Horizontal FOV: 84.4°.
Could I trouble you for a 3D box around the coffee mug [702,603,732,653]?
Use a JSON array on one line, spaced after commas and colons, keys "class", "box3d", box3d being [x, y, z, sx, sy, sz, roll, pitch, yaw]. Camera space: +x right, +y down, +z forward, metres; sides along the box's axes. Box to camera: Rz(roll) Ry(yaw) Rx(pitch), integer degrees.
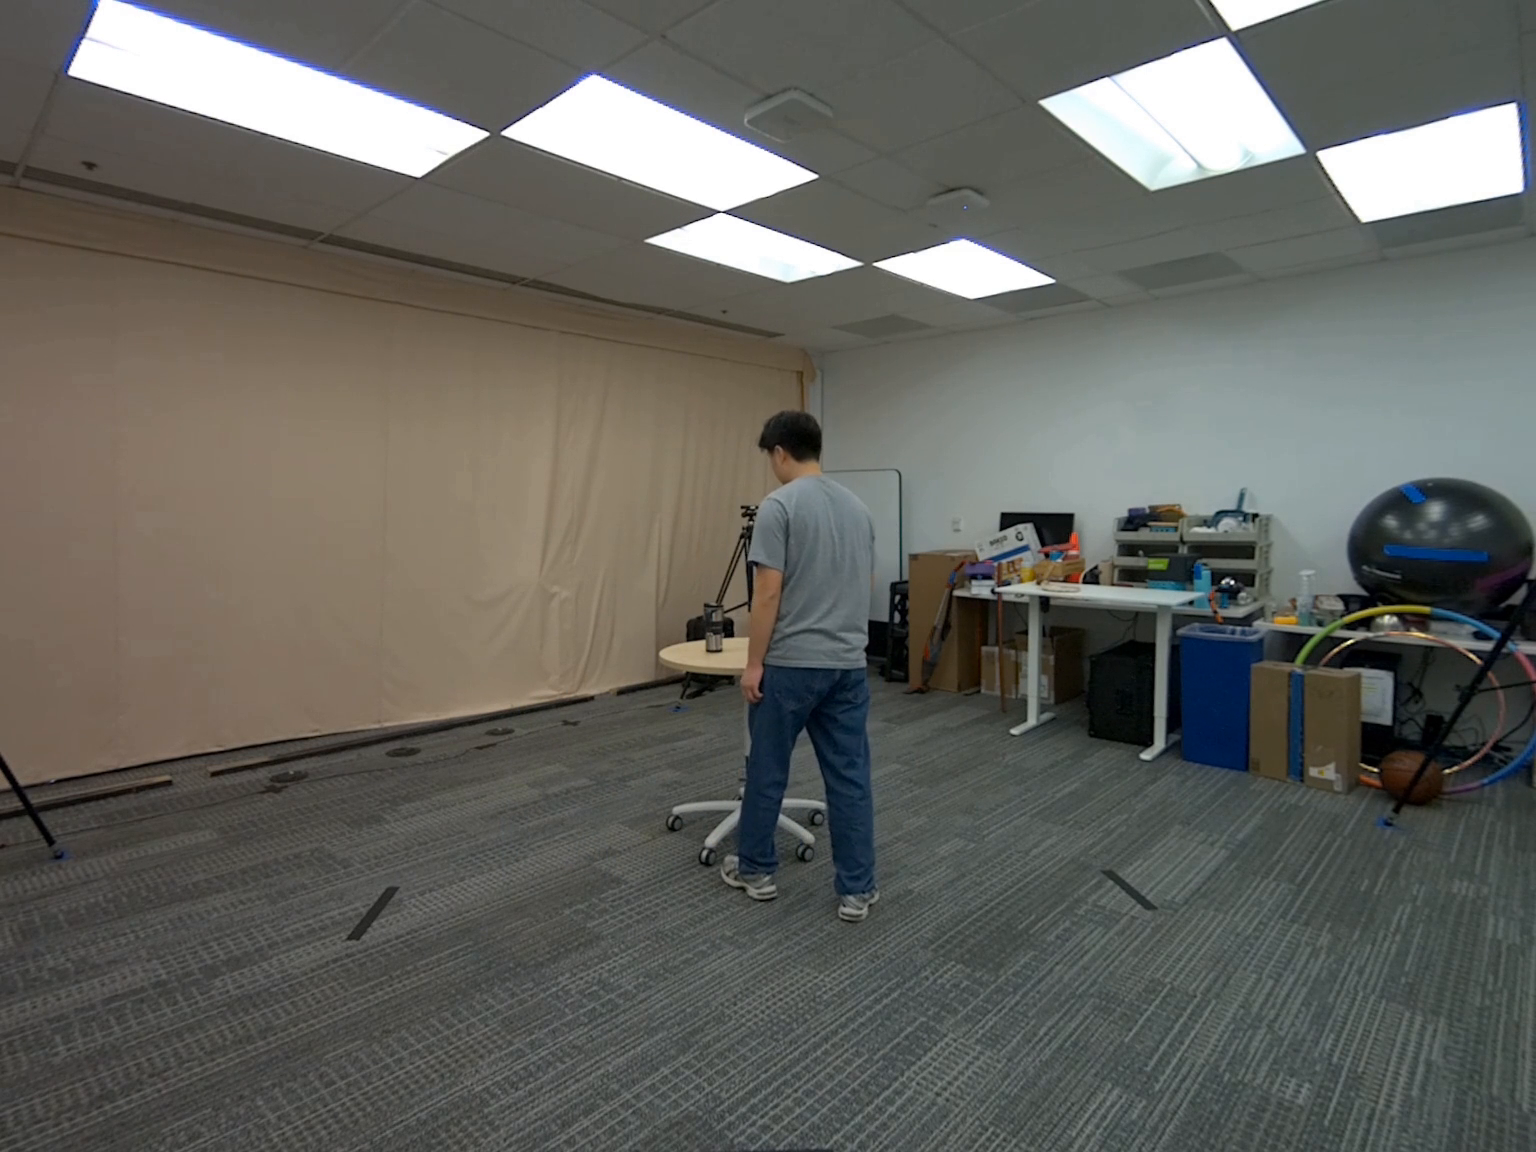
[{"class": "coffee mug", "box3d": [-0.240, 0.220, 3.528, 0.091, 0.203, 0.118, 5, 2, 38]}]
